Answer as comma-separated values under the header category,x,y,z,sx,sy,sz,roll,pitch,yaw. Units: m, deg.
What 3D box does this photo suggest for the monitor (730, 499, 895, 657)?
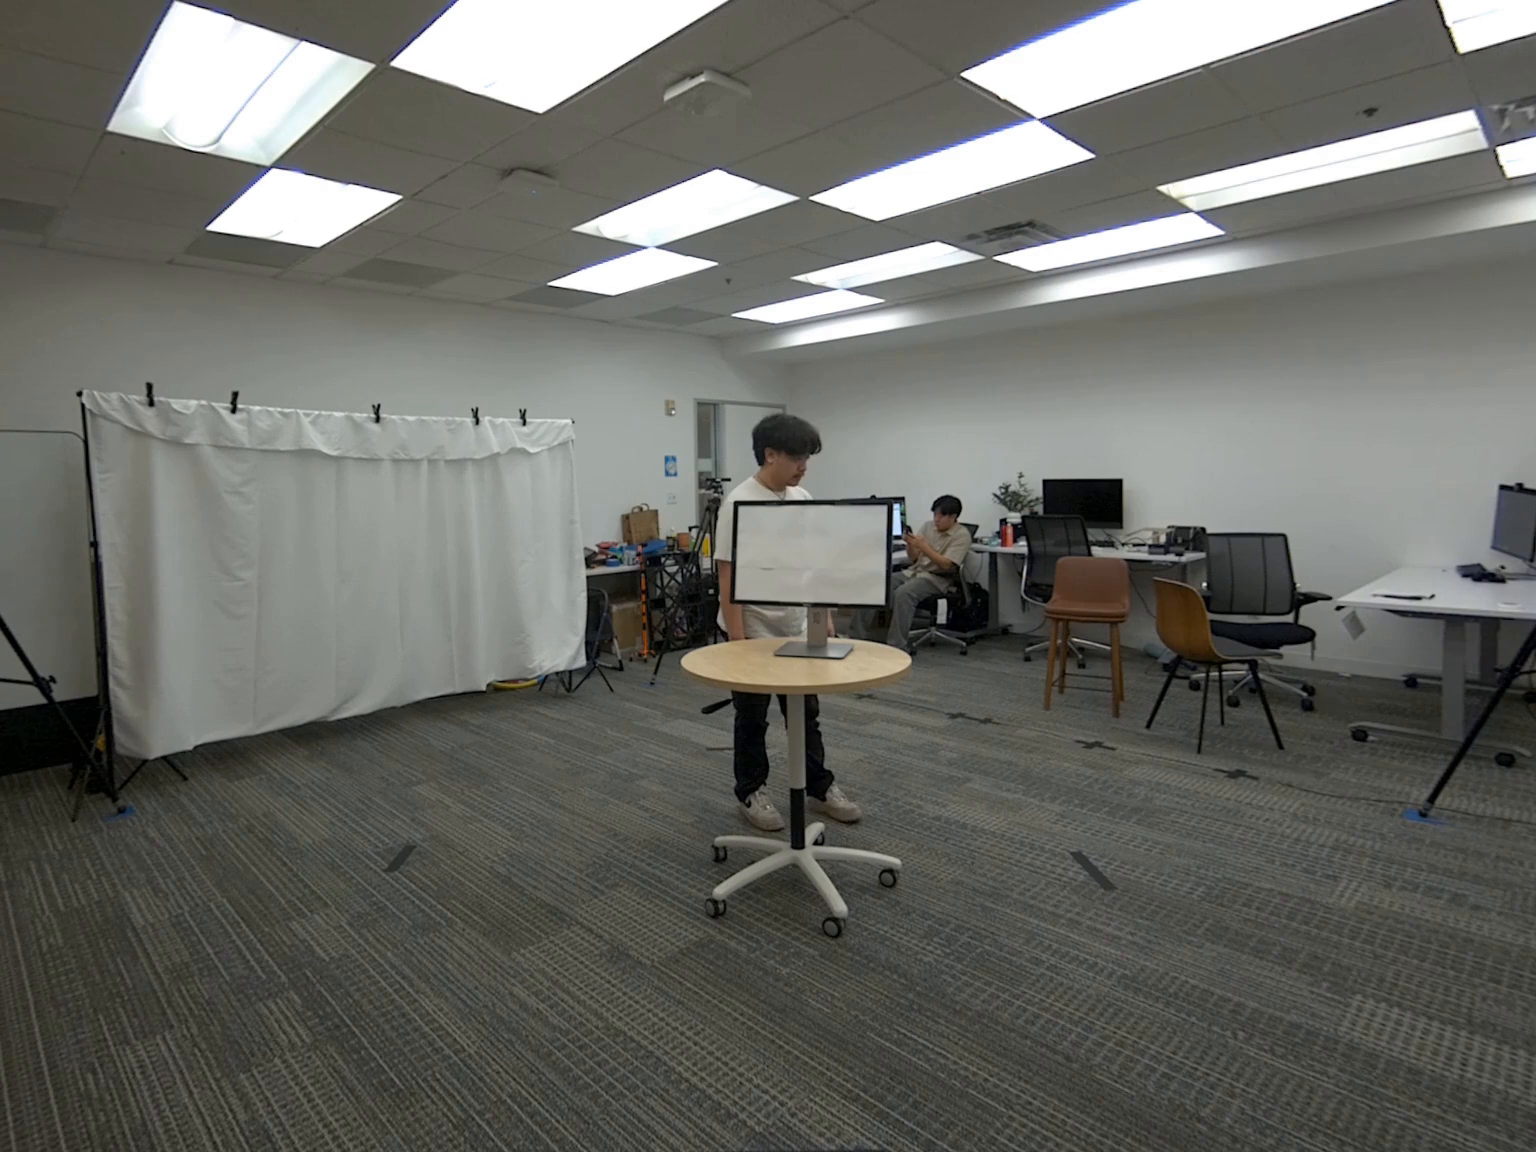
category,x,y,z,sx,sy,sz,roll,pitch,yaw
monitor,0.165,0.008,2.964,0.577,0.554,0.206,1,0,21
